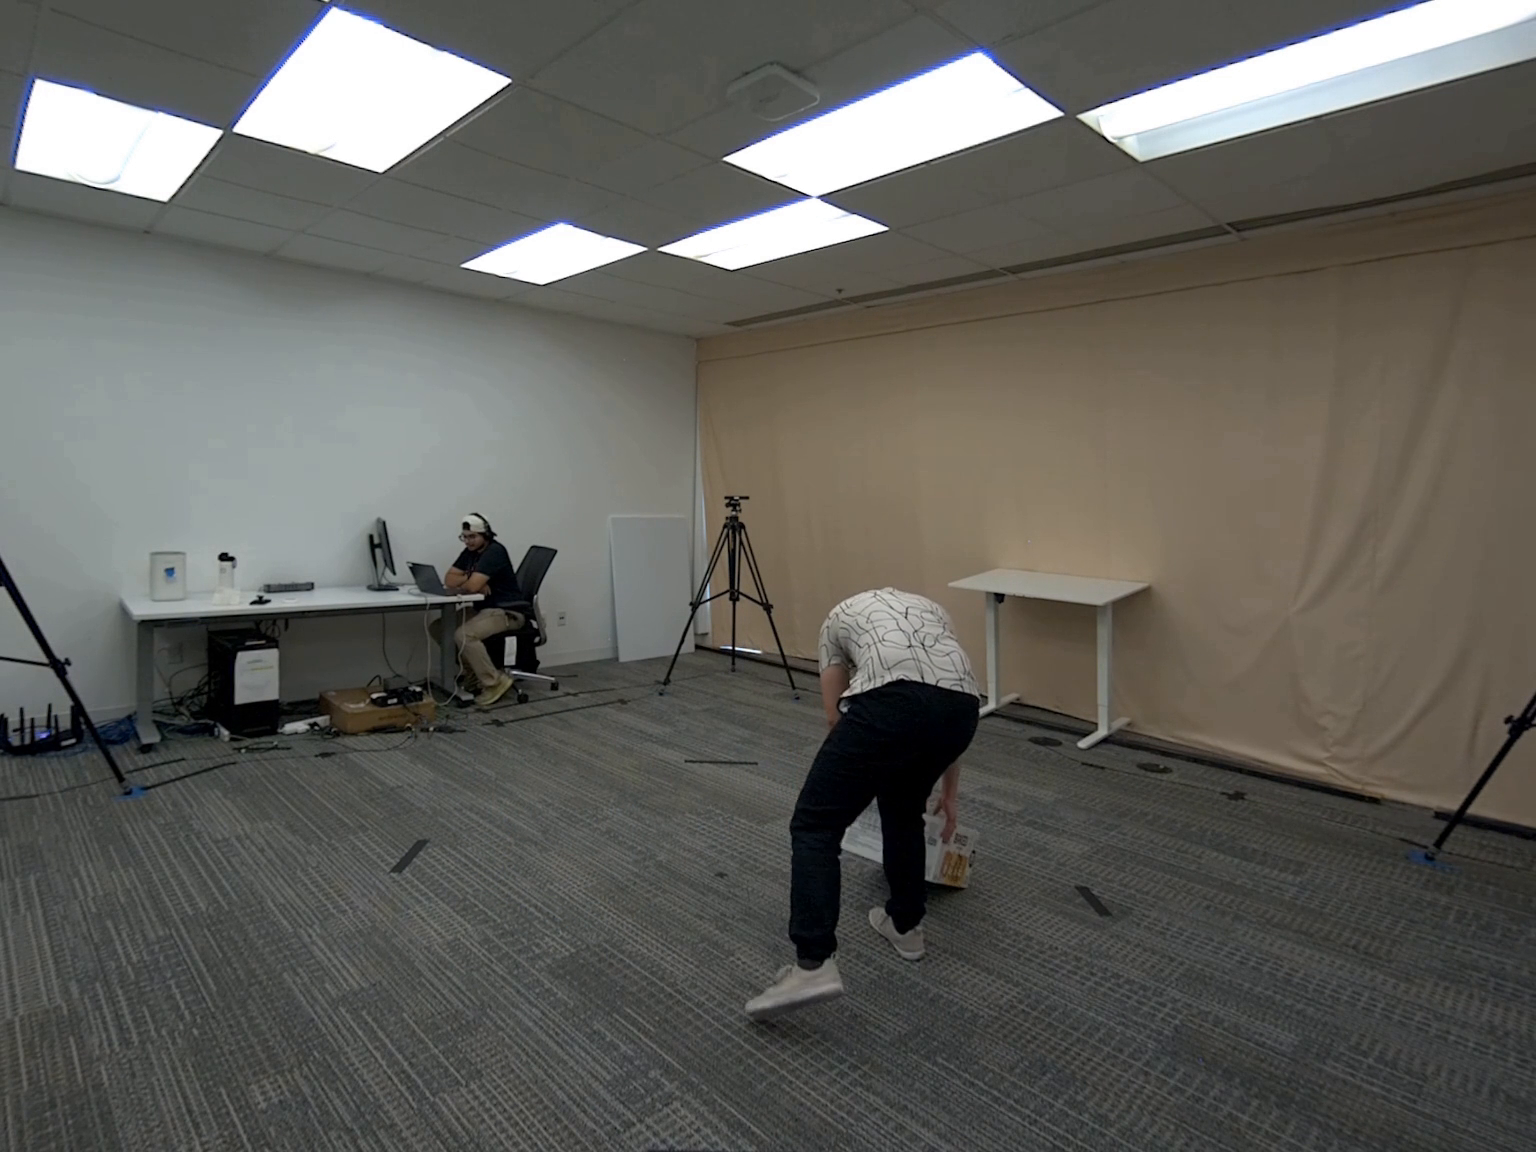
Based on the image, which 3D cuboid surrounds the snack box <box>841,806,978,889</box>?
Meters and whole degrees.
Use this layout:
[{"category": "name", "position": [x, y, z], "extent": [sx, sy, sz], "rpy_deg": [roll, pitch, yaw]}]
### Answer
[{"category": "snack box", "position": [0.510, 0.953, 3.017], "extent": [0.349, 0.207, 0.393], "rpy_deg": [9, -15, 34]}]
